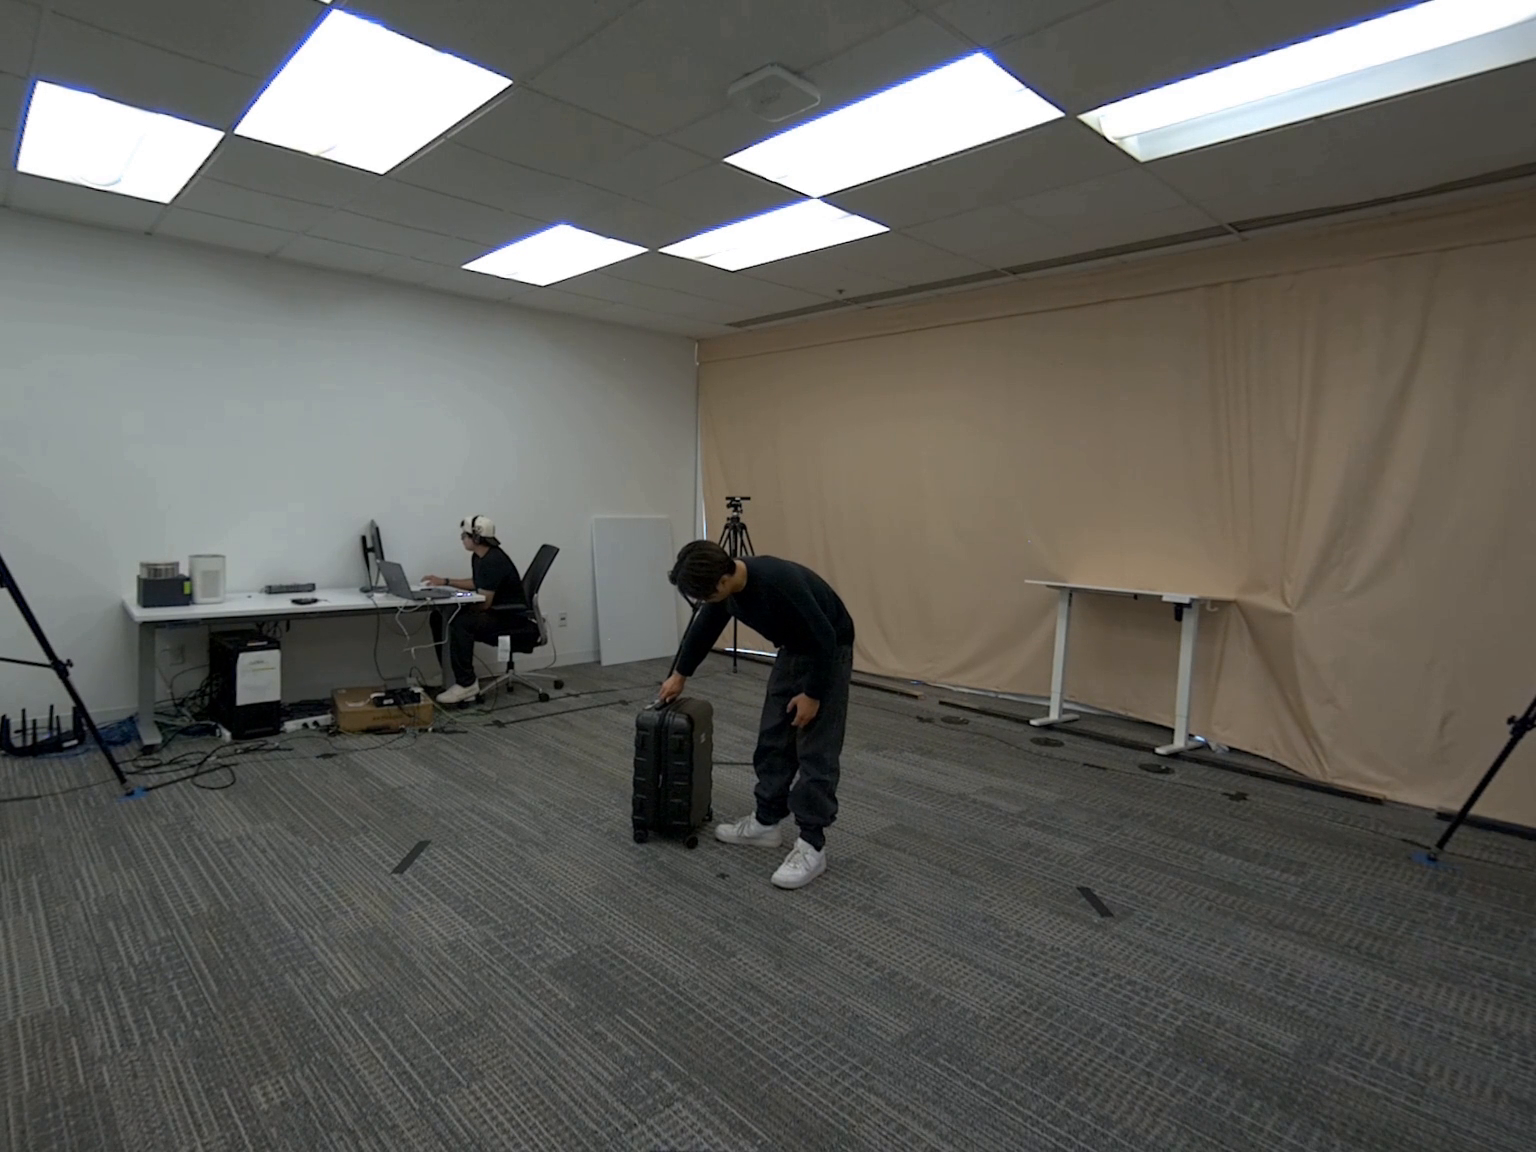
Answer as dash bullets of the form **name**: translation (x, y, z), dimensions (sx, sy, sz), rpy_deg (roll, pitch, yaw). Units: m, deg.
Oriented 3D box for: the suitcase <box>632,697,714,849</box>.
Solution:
- **suitcase**: translation (-0.389, 0.785, 3.498), dimensions (0.251, 0.548, 0.371), rpy_deg (3, 2, 14)
